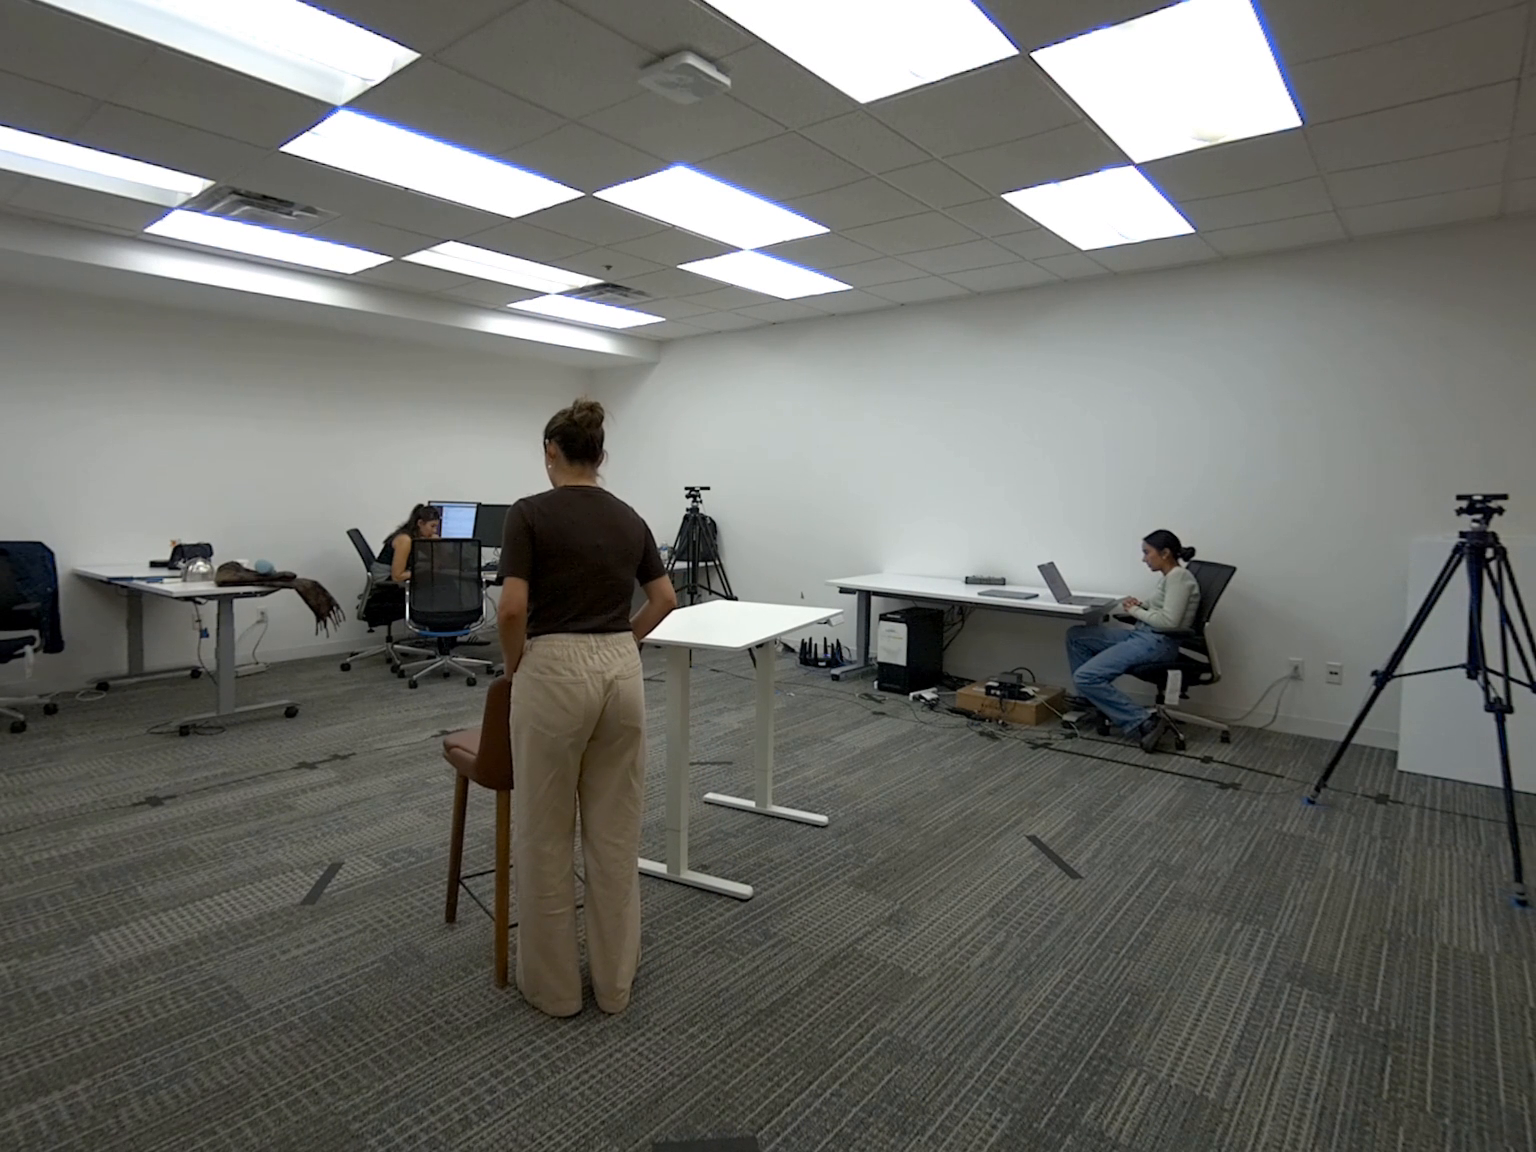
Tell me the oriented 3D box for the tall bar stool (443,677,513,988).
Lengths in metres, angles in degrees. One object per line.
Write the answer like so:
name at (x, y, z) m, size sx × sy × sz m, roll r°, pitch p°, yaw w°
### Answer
tall bar stool at (-0.738, 0.670, 2.601) m, size 0.443 × 0.886 × 0.483 m, roll -2°, pitch 5°, yaw -36°
